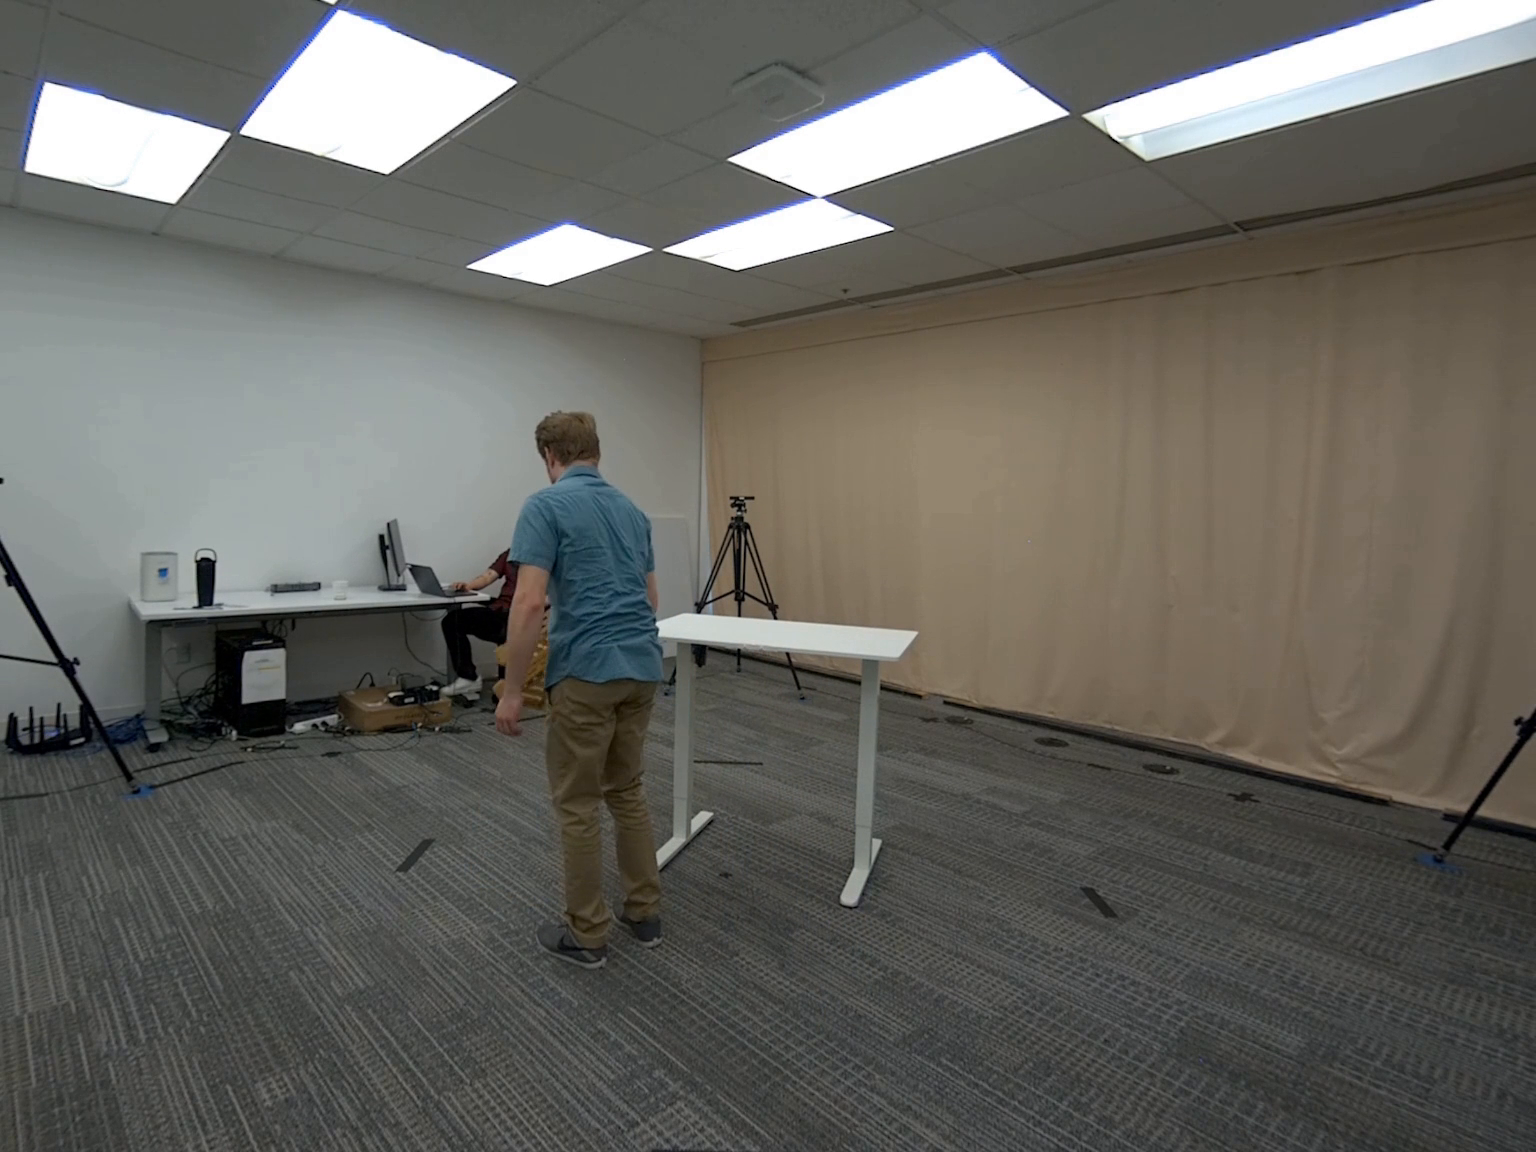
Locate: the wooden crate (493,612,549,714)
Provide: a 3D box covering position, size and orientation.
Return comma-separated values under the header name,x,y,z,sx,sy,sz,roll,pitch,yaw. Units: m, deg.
name,x,y,z,sx,sy,sz,roll,pitch,yaw
wooden crate,-0.804,0.271,2.935,0.325,0.280,0.293,-36,-28,10
